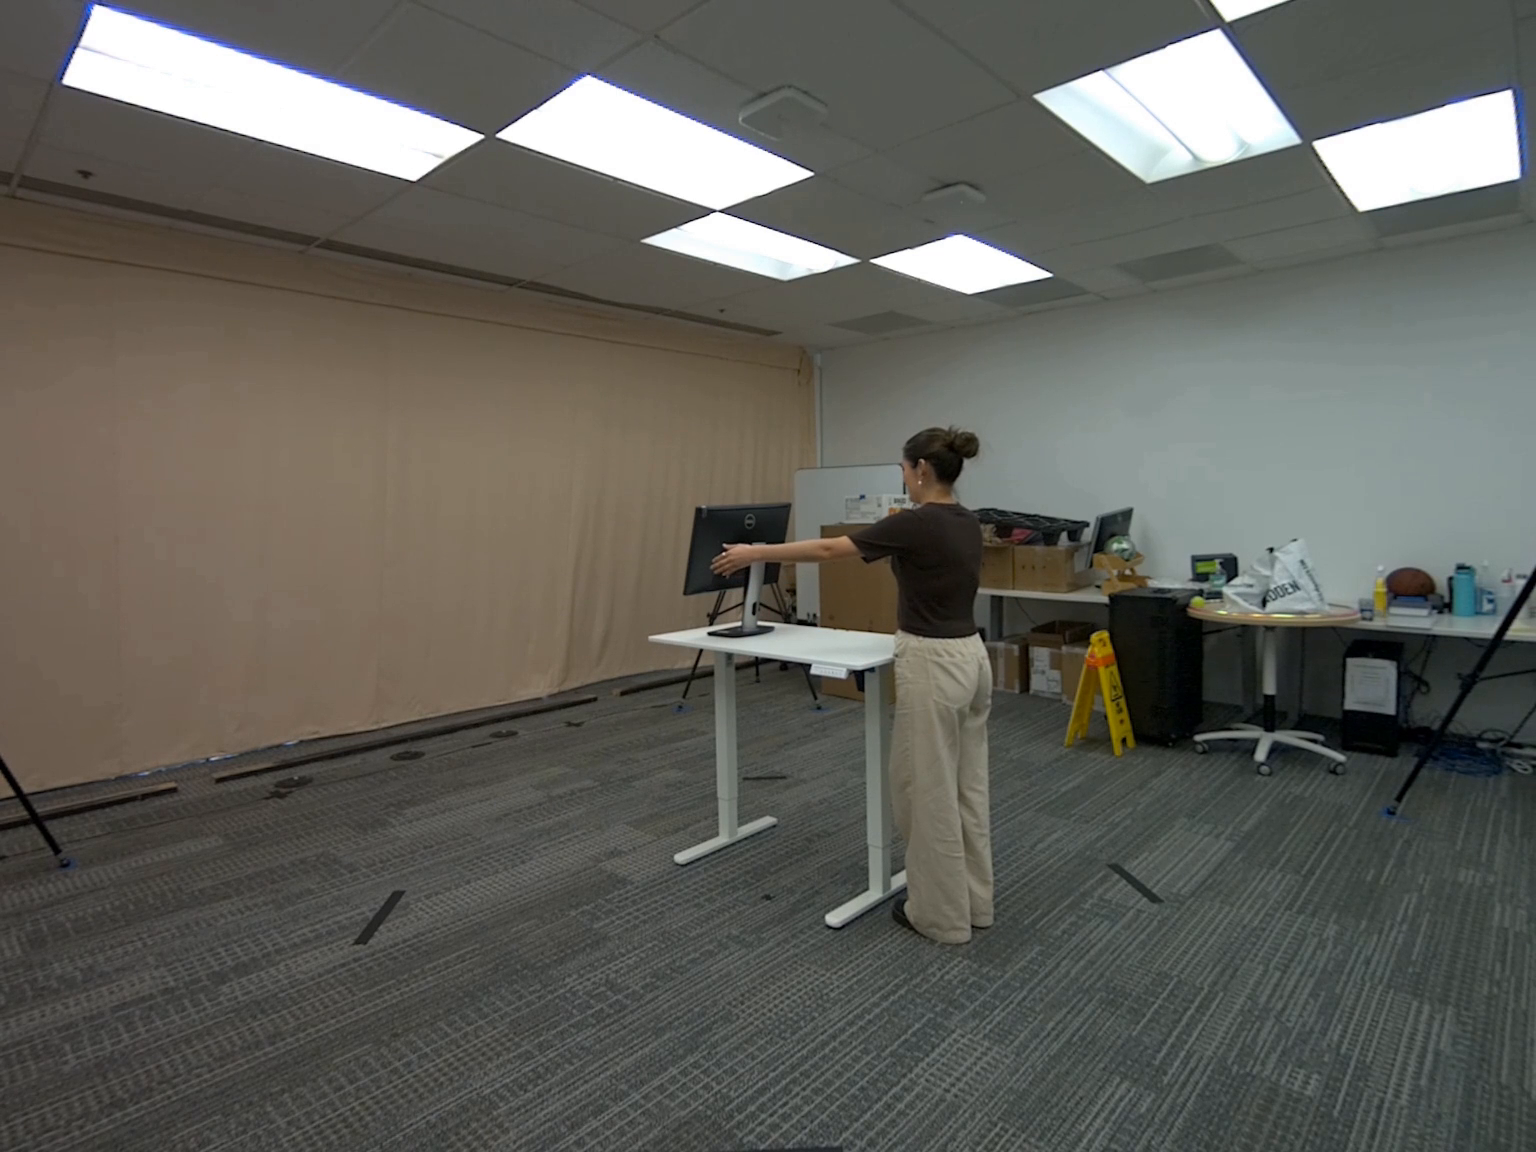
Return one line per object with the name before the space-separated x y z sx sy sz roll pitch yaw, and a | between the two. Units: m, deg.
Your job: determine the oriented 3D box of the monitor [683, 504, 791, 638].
monitor | -0.092 -0.023 3.356 0.193 0.521 0.523 5 7 42
